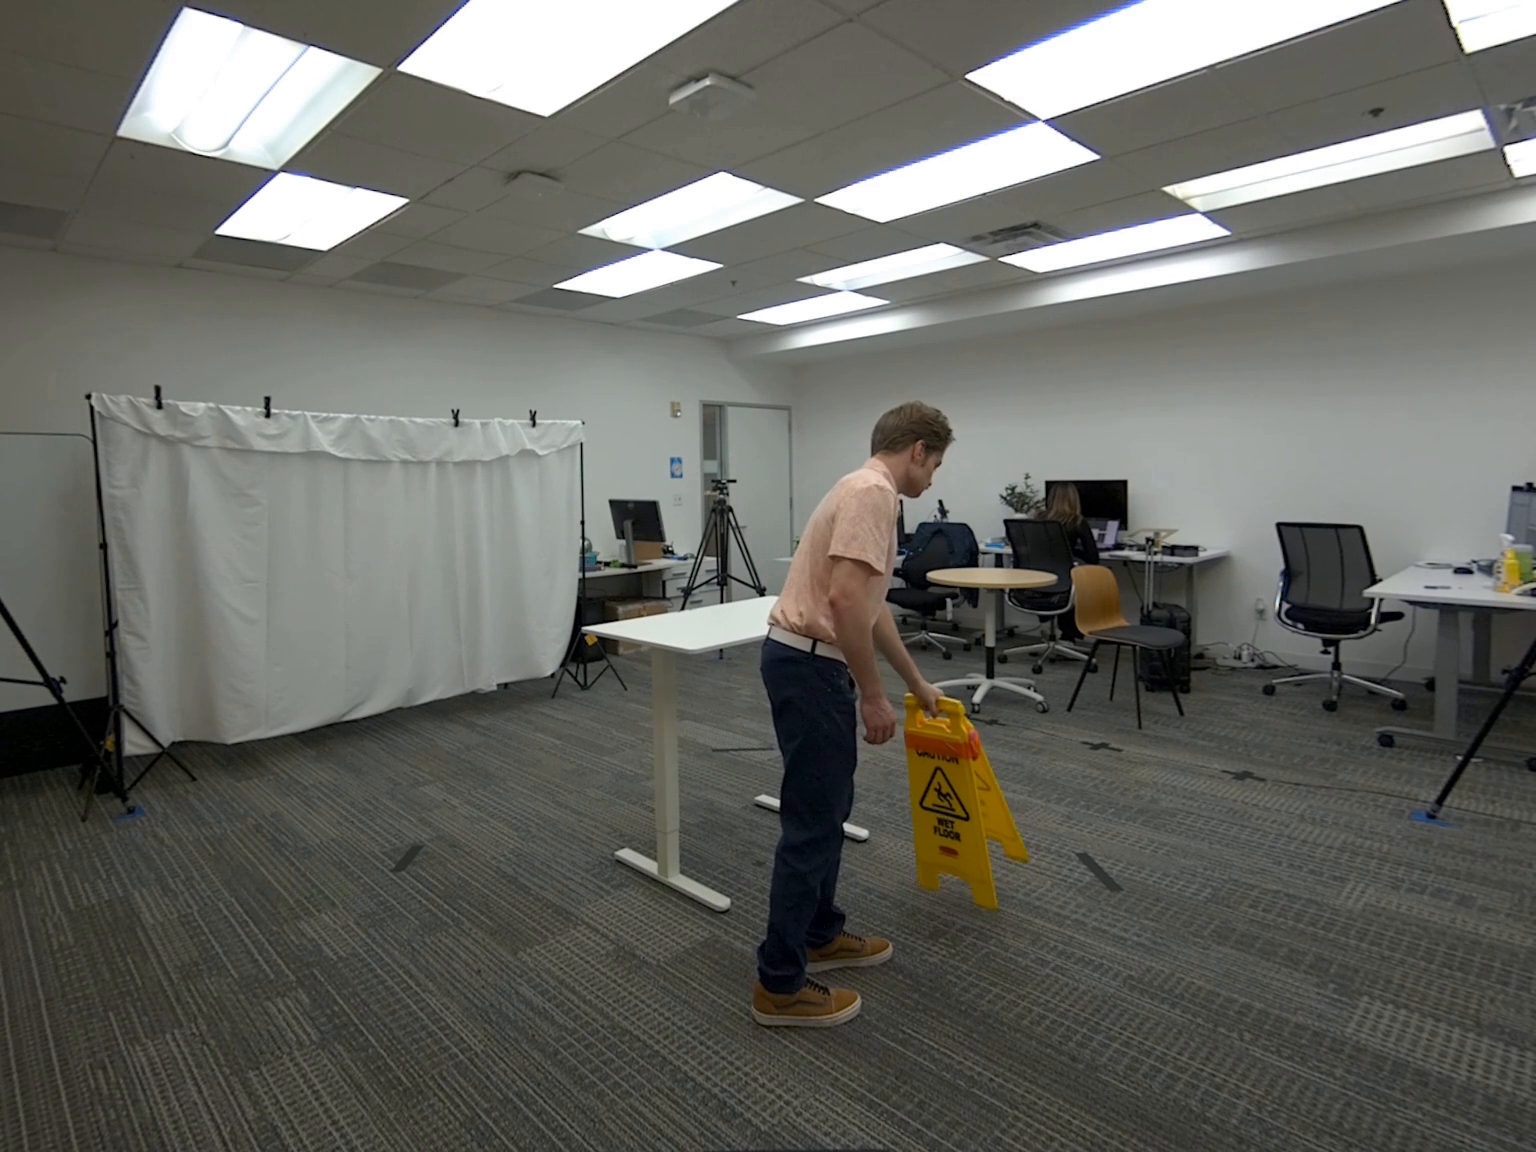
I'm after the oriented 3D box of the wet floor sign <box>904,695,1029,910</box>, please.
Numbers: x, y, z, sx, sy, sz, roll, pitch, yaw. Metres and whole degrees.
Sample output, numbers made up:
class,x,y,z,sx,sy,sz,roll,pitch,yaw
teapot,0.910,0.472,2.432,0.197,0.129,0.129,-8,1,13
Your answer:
class,x,y,z,sx,sy,sz,roll,pitch,yaw
wet floor sign,0.586,0.676,2.696,0.290,0.636,0.286,-2,20,45
